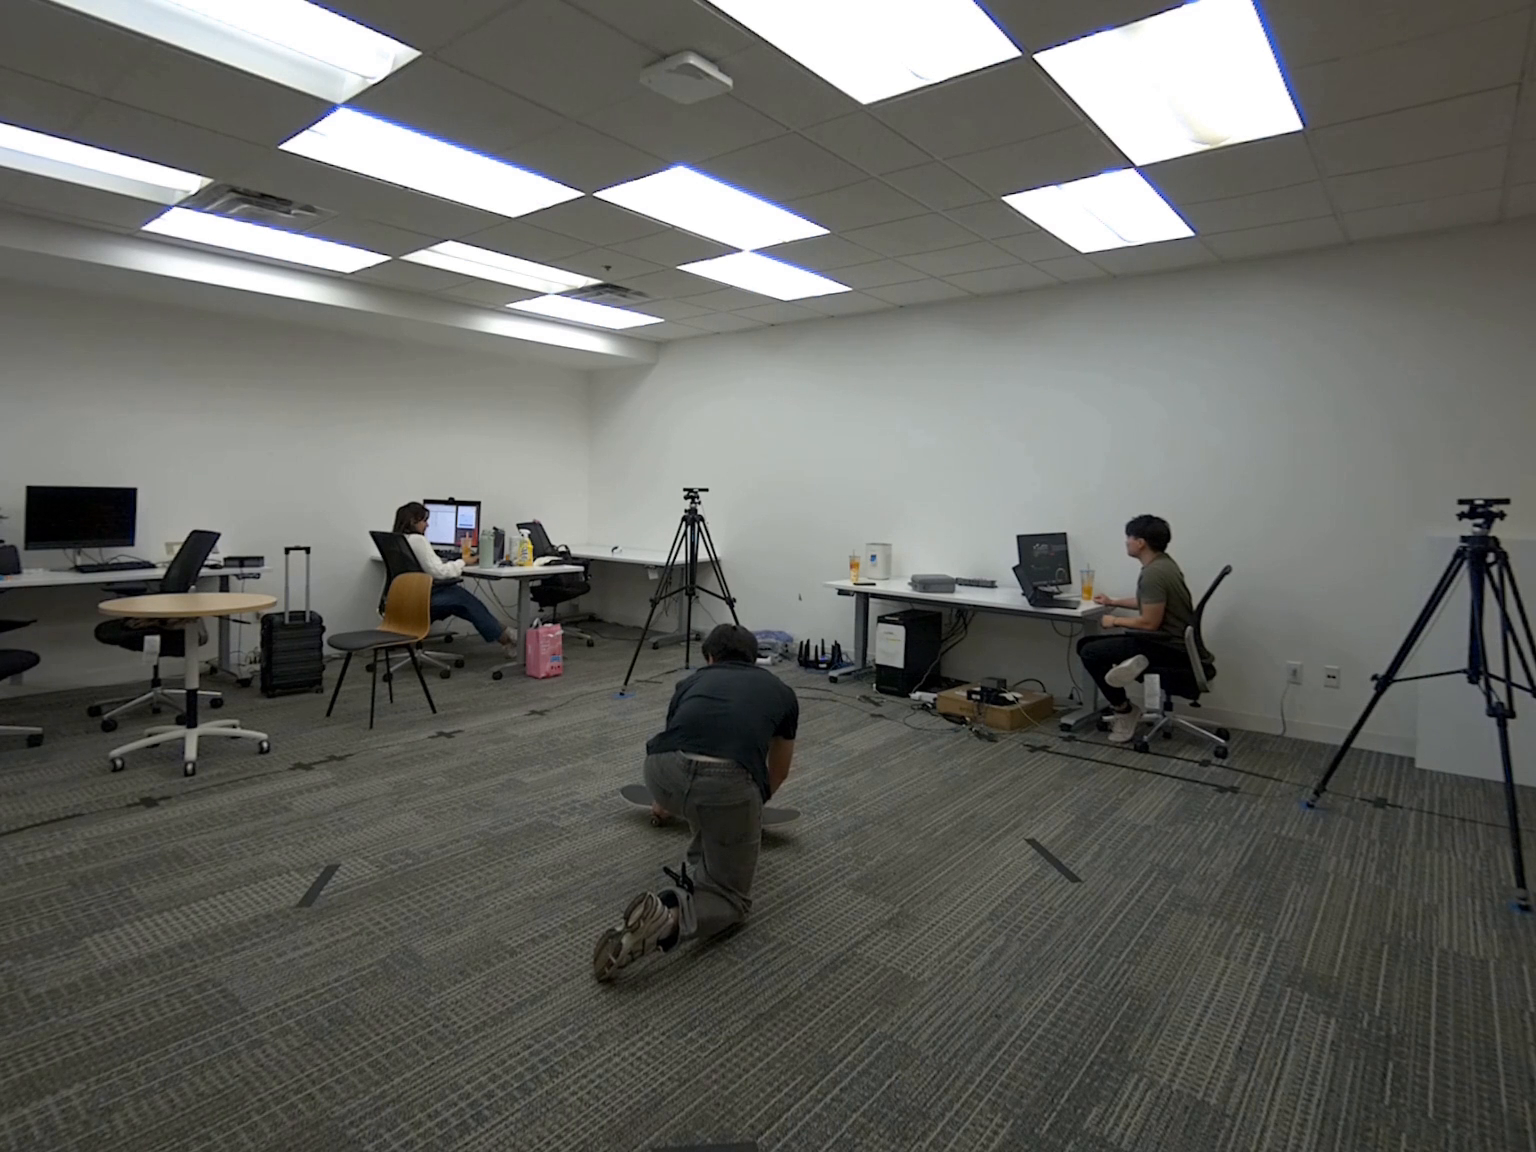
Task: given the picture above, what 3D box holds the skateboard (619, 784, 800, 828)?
[{"bbox_3d":[-0.262,0.964,3.487,0.802,0.110,0.190,3,6,20],"label":"skateboard"}]
